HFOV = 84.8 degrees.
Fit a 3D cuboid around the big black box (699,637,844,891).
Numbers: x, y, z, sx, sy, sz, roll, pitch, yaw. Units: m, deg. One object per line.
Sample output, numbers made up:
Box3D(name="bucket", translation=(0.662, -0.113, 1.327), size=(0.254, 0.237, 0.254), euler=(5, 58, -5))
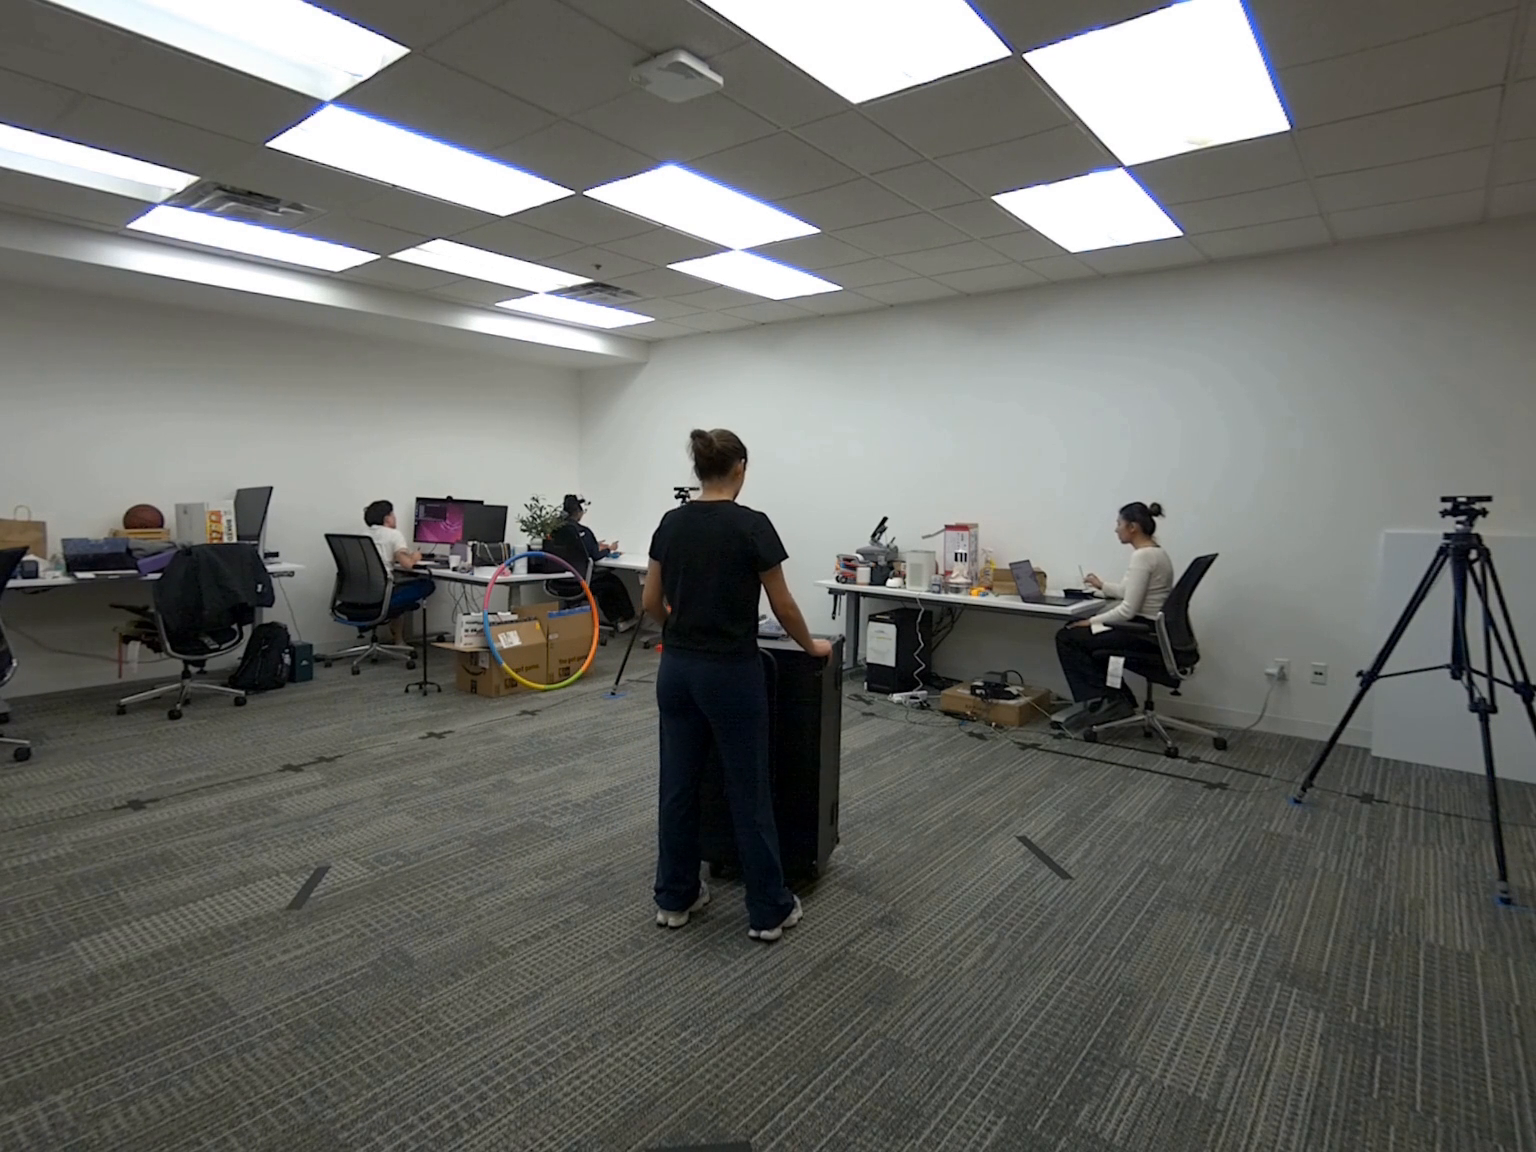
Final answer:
Box3D(name="big black box", translation=(0.015, 0.644, 3.089), size=(0.532, 0.858, 0.390), euler=(3, 4, 19))
